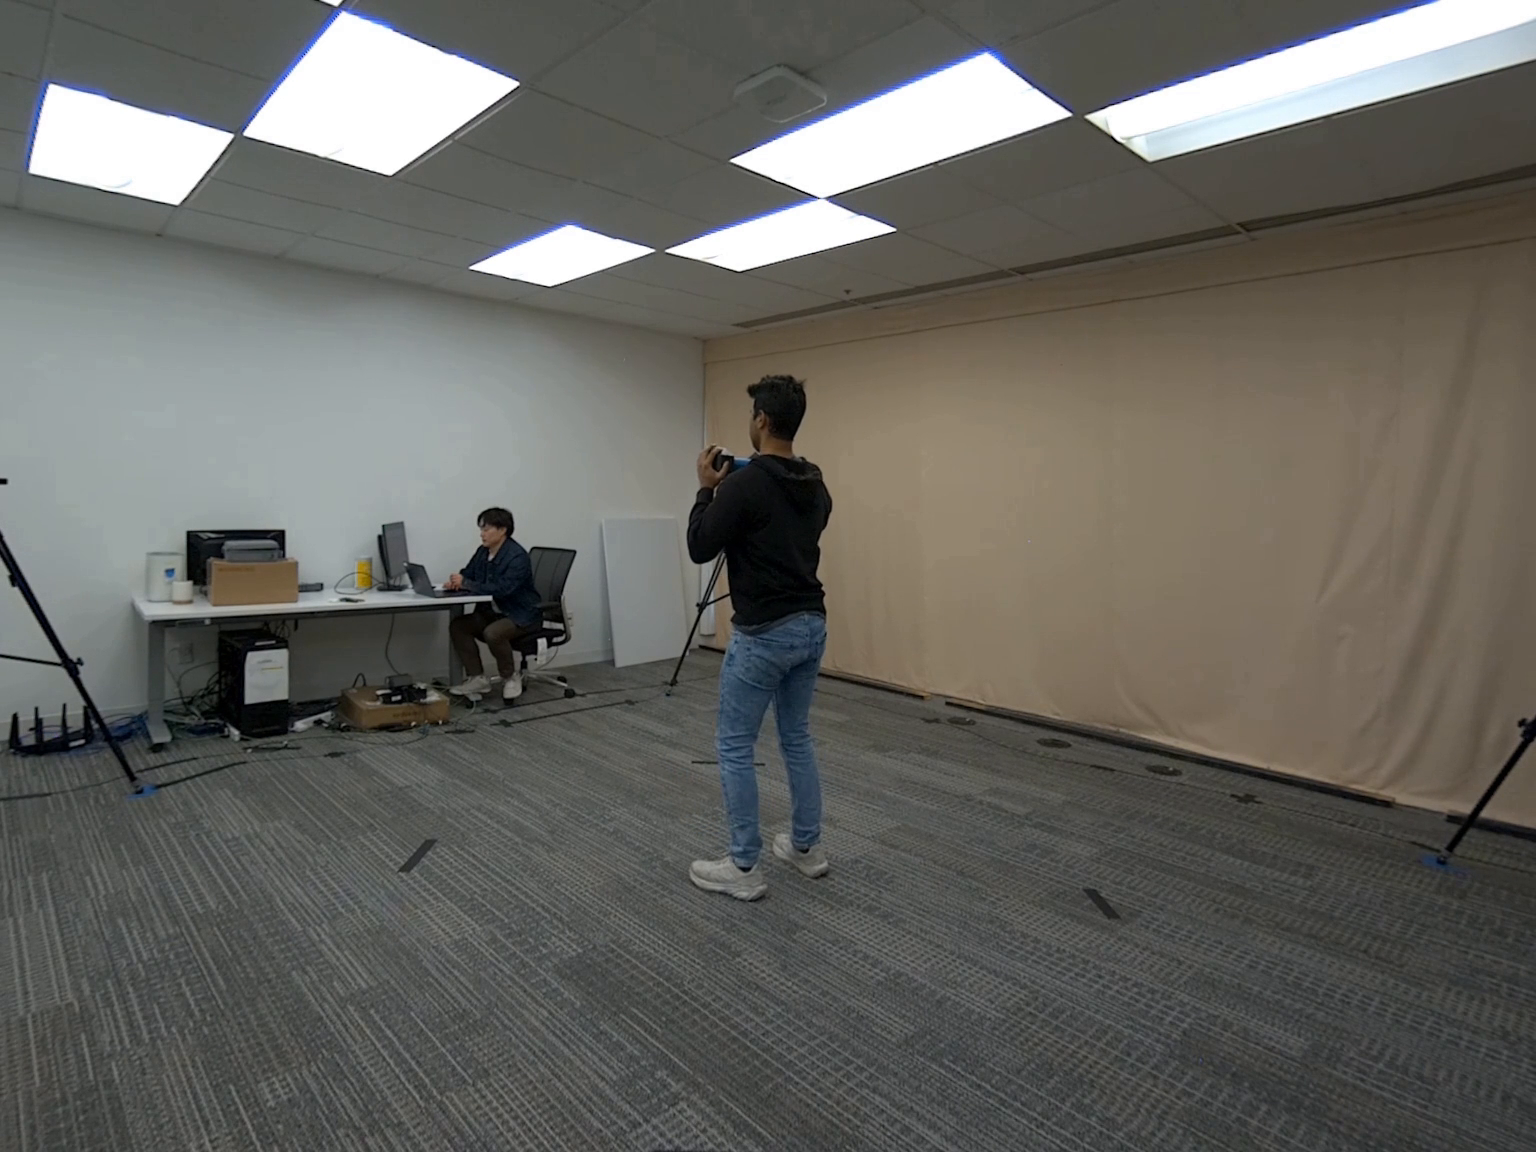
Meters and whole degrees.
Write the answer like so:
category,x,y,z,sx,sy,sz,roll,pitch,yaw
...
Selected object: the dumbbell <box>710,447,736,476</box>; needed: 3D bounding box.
category,x,y,z,sx,sy,sz,roll,pitch,yaw
dumbbell,-0.103,-0.400,3.153,0.286,0.122,0.111,0,6,-41
